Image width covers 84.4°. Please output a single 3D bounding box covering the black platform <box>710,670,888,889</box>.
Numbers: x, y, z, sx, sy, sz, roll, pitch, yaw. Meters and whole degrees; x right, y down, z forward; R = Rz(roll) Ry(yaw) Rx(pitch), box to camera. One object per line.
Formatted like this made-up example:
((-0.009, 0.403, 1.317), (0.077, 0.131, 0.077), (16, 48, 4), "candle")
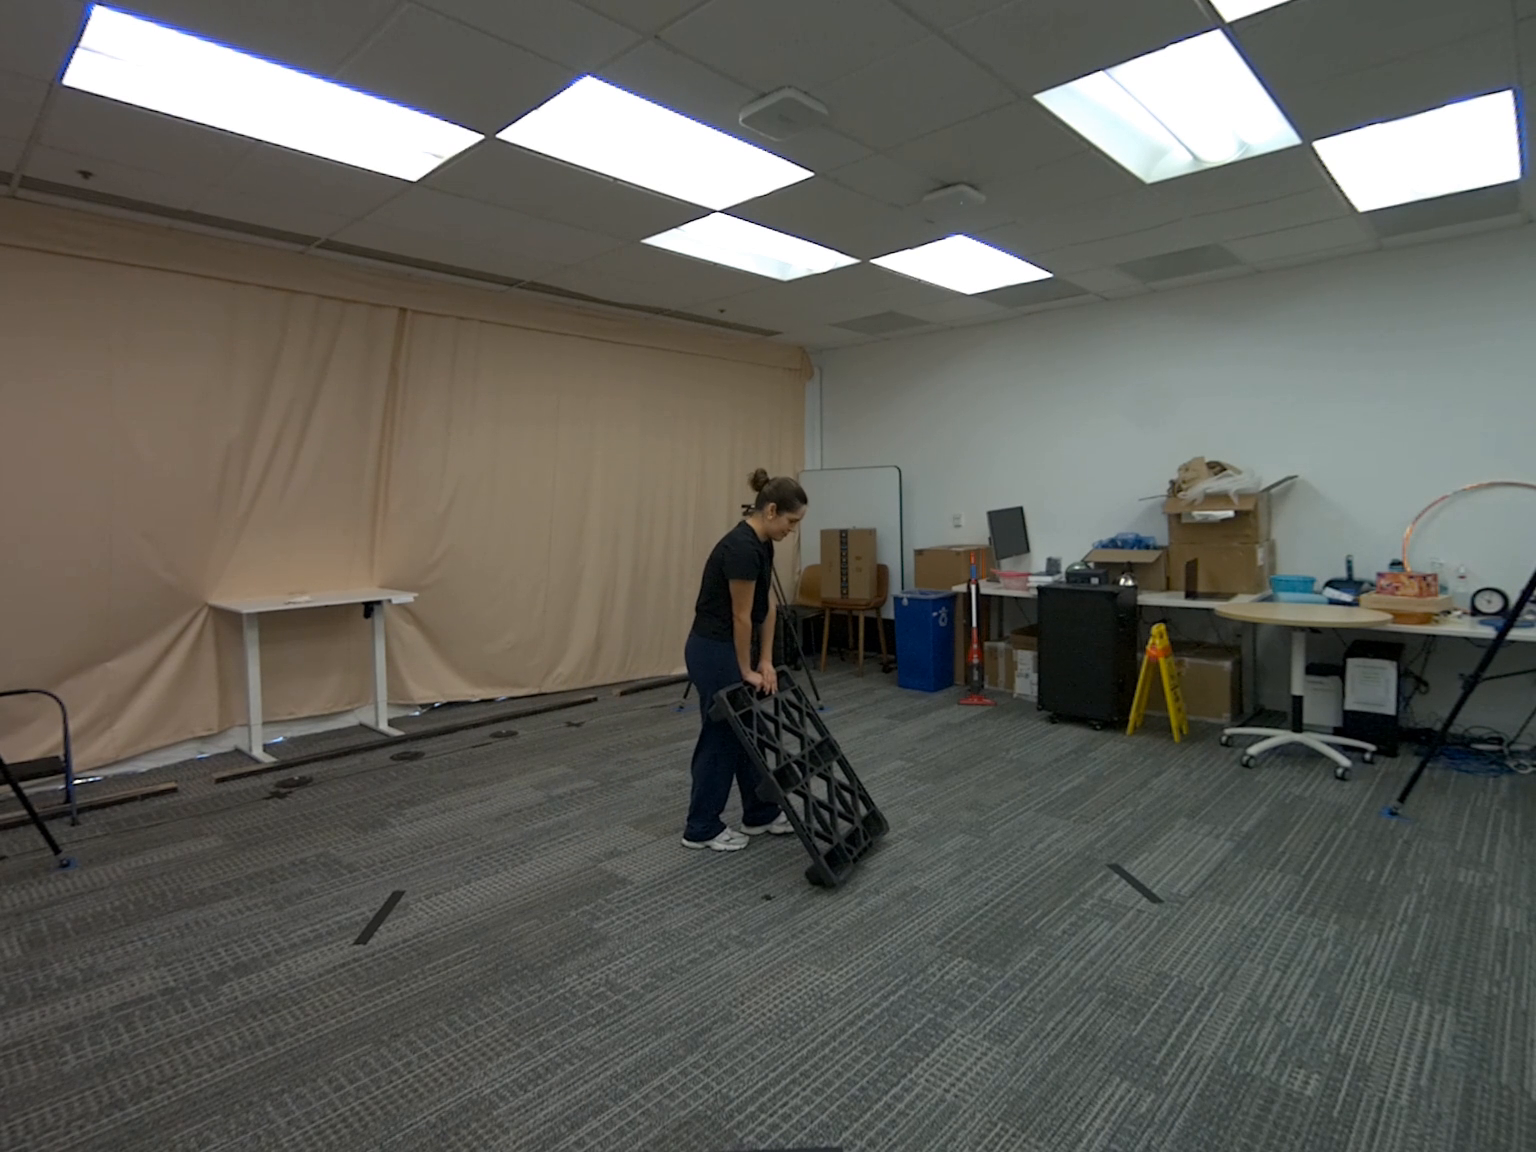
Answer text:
((0.129, 0.774, 3.337), (0.145, 0.818, 0.590), (-39, -14, 25), "black platform")
